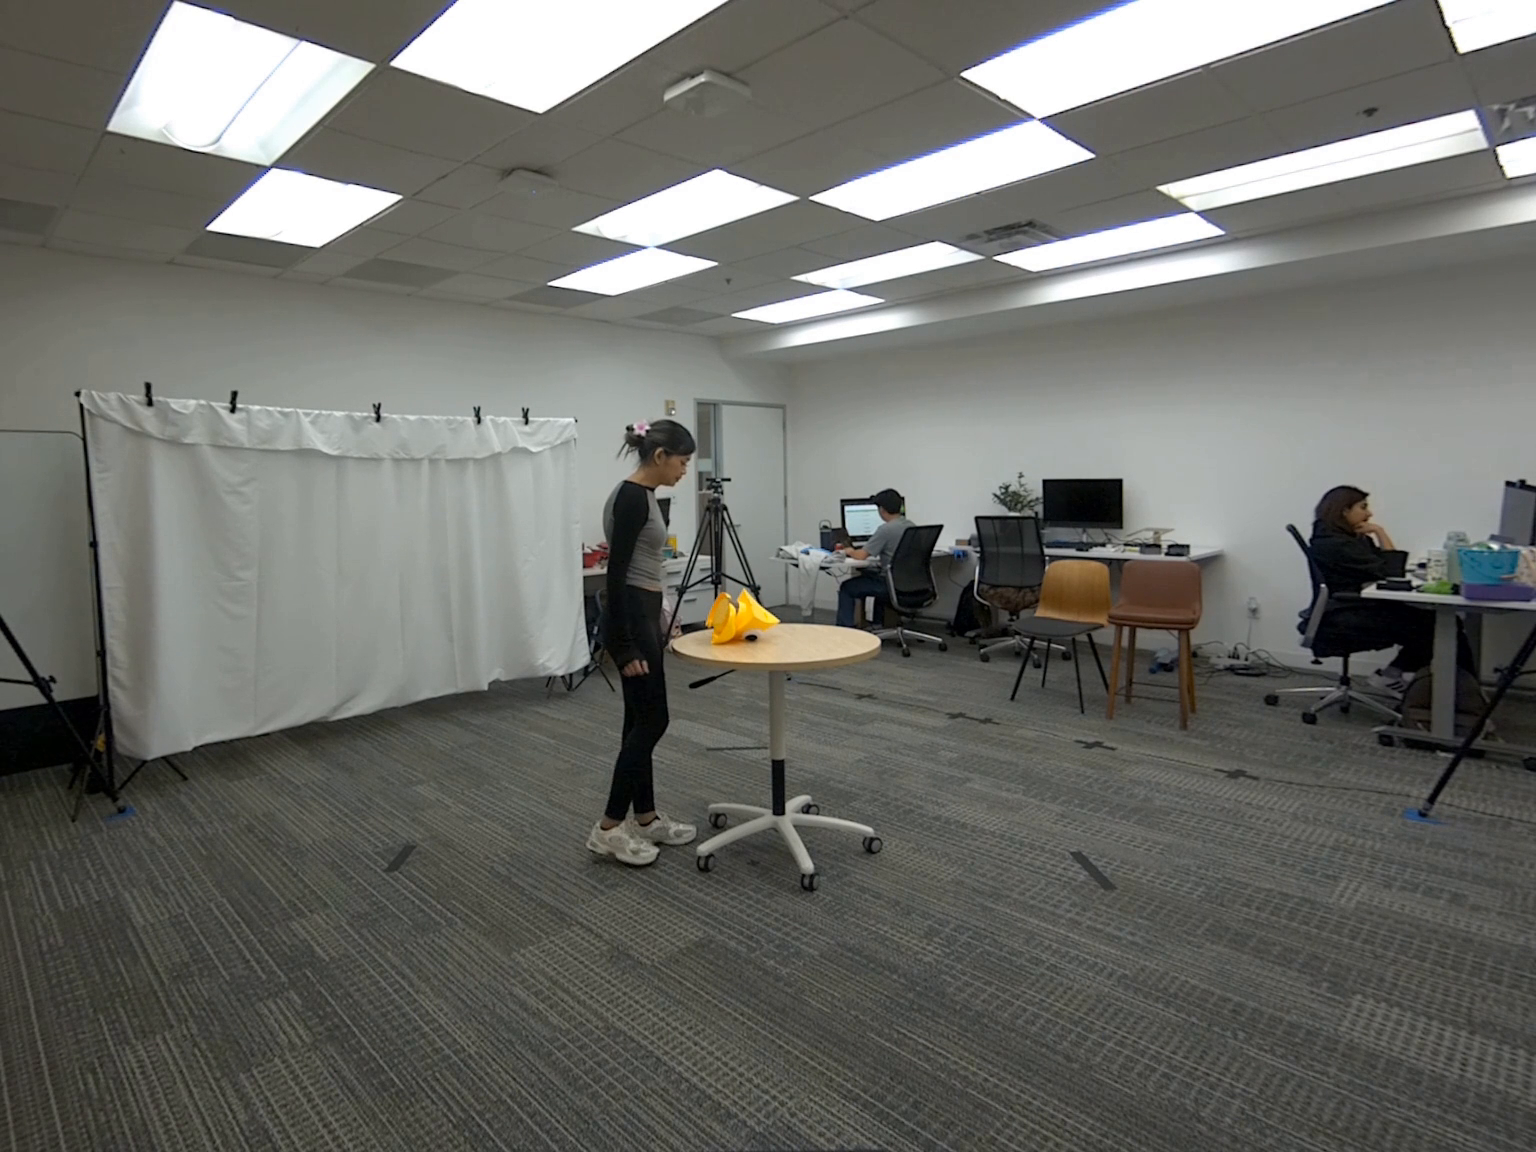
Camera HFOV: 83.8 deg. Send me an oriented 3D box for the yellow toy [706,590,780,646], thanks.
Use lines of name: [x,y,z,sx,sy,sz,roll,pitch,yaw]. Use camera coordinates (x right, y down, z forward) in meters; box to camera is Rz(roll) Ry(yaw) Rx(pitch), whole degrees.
yellow toy: [-0.081,0.183,3.192,0.225,0.192,0.211,21,22,-22]
